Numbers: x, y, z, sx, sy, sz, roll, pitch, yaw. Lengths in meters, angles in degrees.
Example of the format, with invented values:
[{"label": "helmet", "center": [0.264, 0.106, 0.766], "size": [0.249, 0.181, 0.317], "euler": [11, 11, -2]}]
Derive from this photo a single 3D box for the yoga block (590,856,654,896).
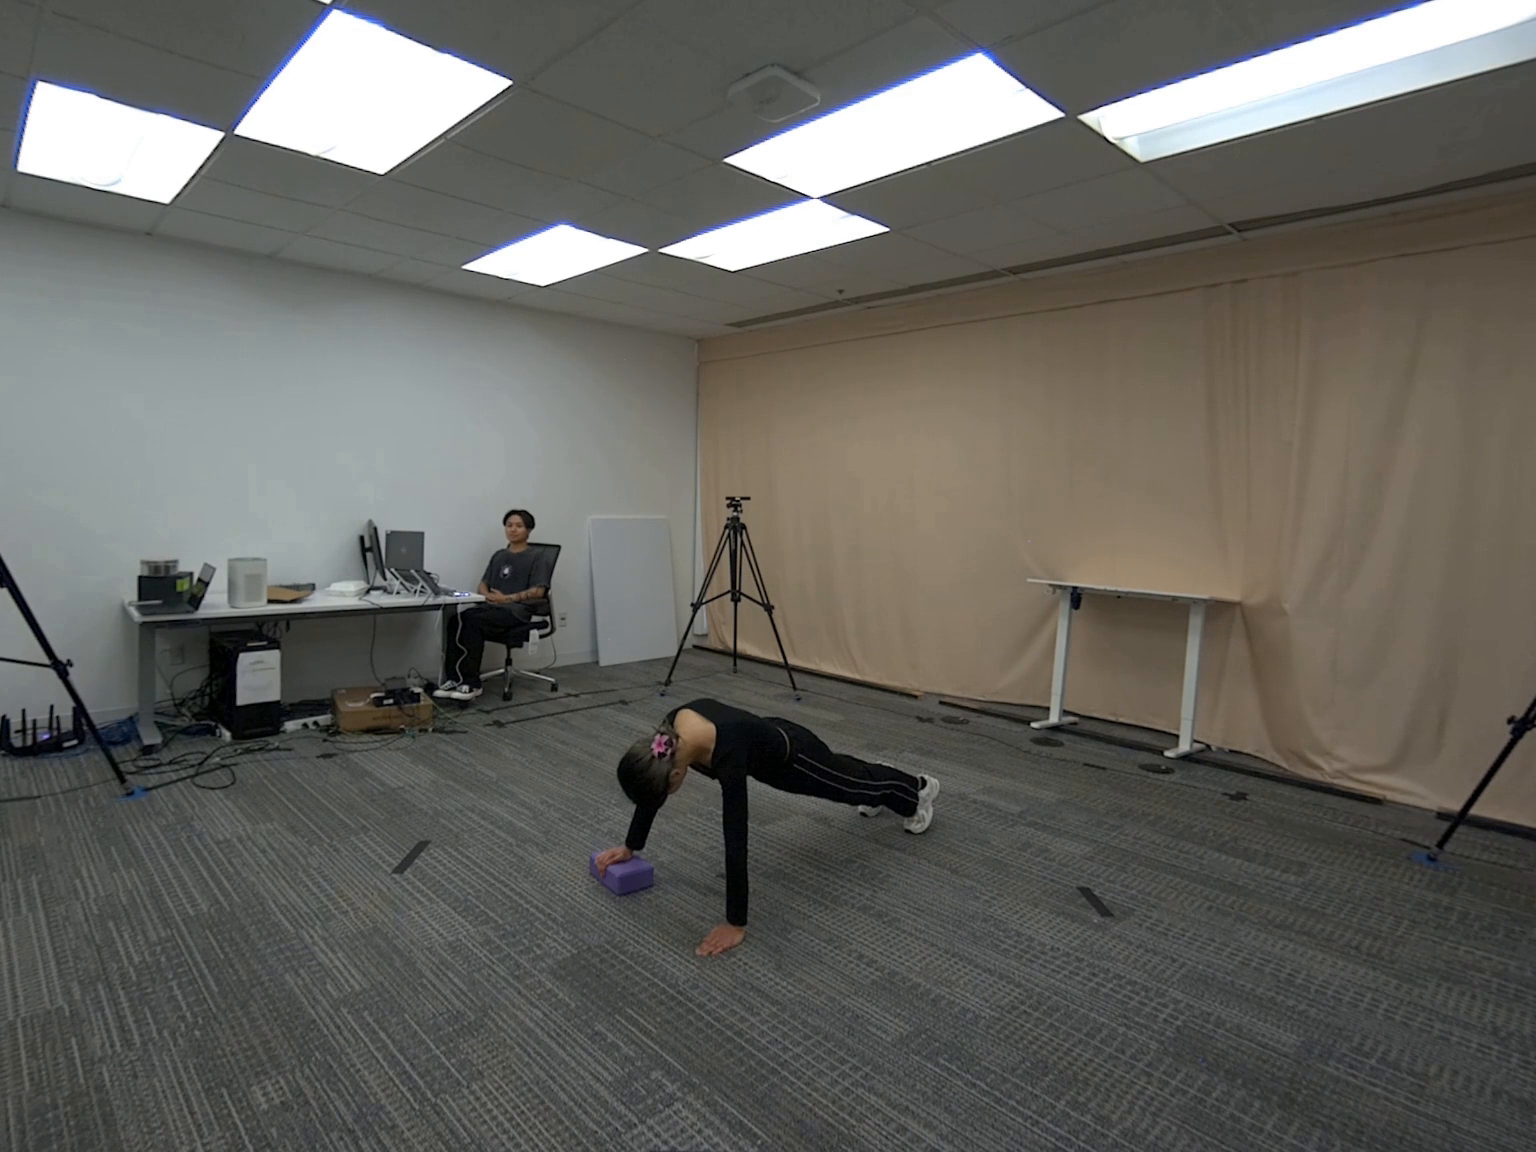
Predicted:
[{"label": "yoga block", "center": [-0.537, 1.066, 3.049], "size": [0.146, 0.076, 0.235], "euler": [-3, 5, -37]}]
